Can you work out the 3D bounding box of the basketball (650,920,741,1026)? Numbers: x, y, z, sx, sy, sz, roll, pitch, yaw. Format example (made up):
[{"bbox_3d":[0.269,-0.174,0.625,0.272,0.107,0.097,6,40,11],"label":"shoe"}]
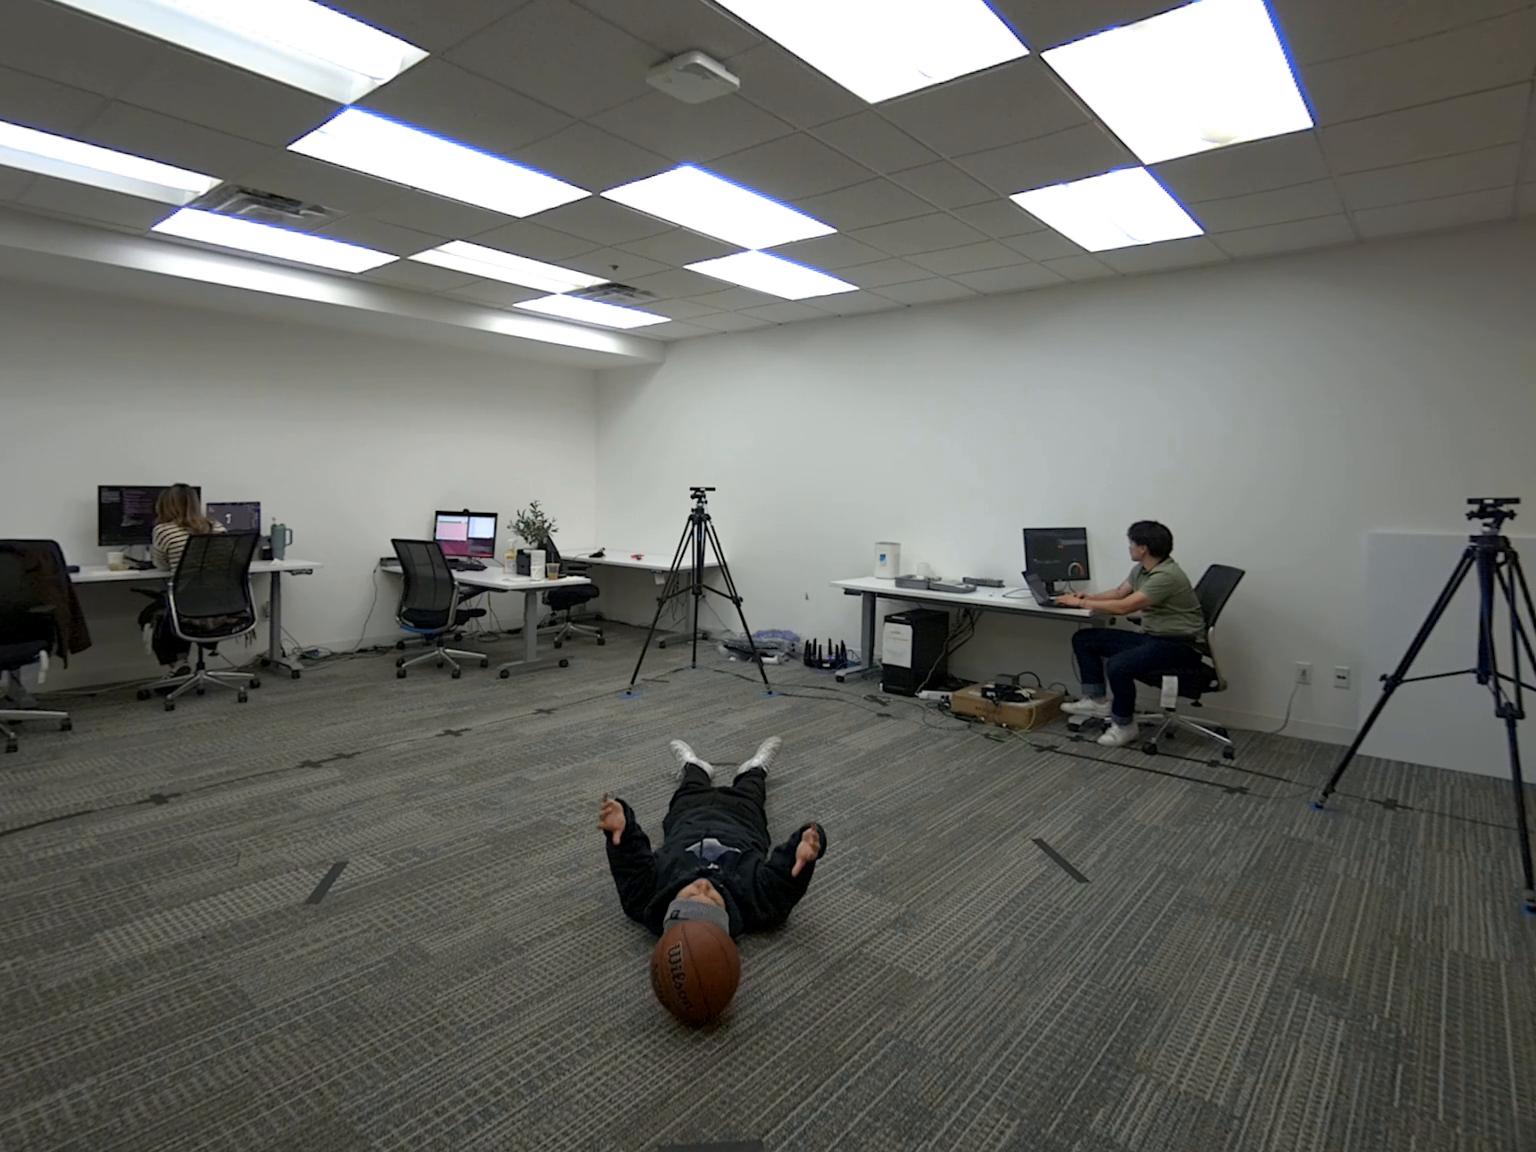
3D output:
[{"bbox_3d":[-0.197,1.033,2.242,0.235,0.235,0.237,1,4,-2],"label":"basketball"}]
